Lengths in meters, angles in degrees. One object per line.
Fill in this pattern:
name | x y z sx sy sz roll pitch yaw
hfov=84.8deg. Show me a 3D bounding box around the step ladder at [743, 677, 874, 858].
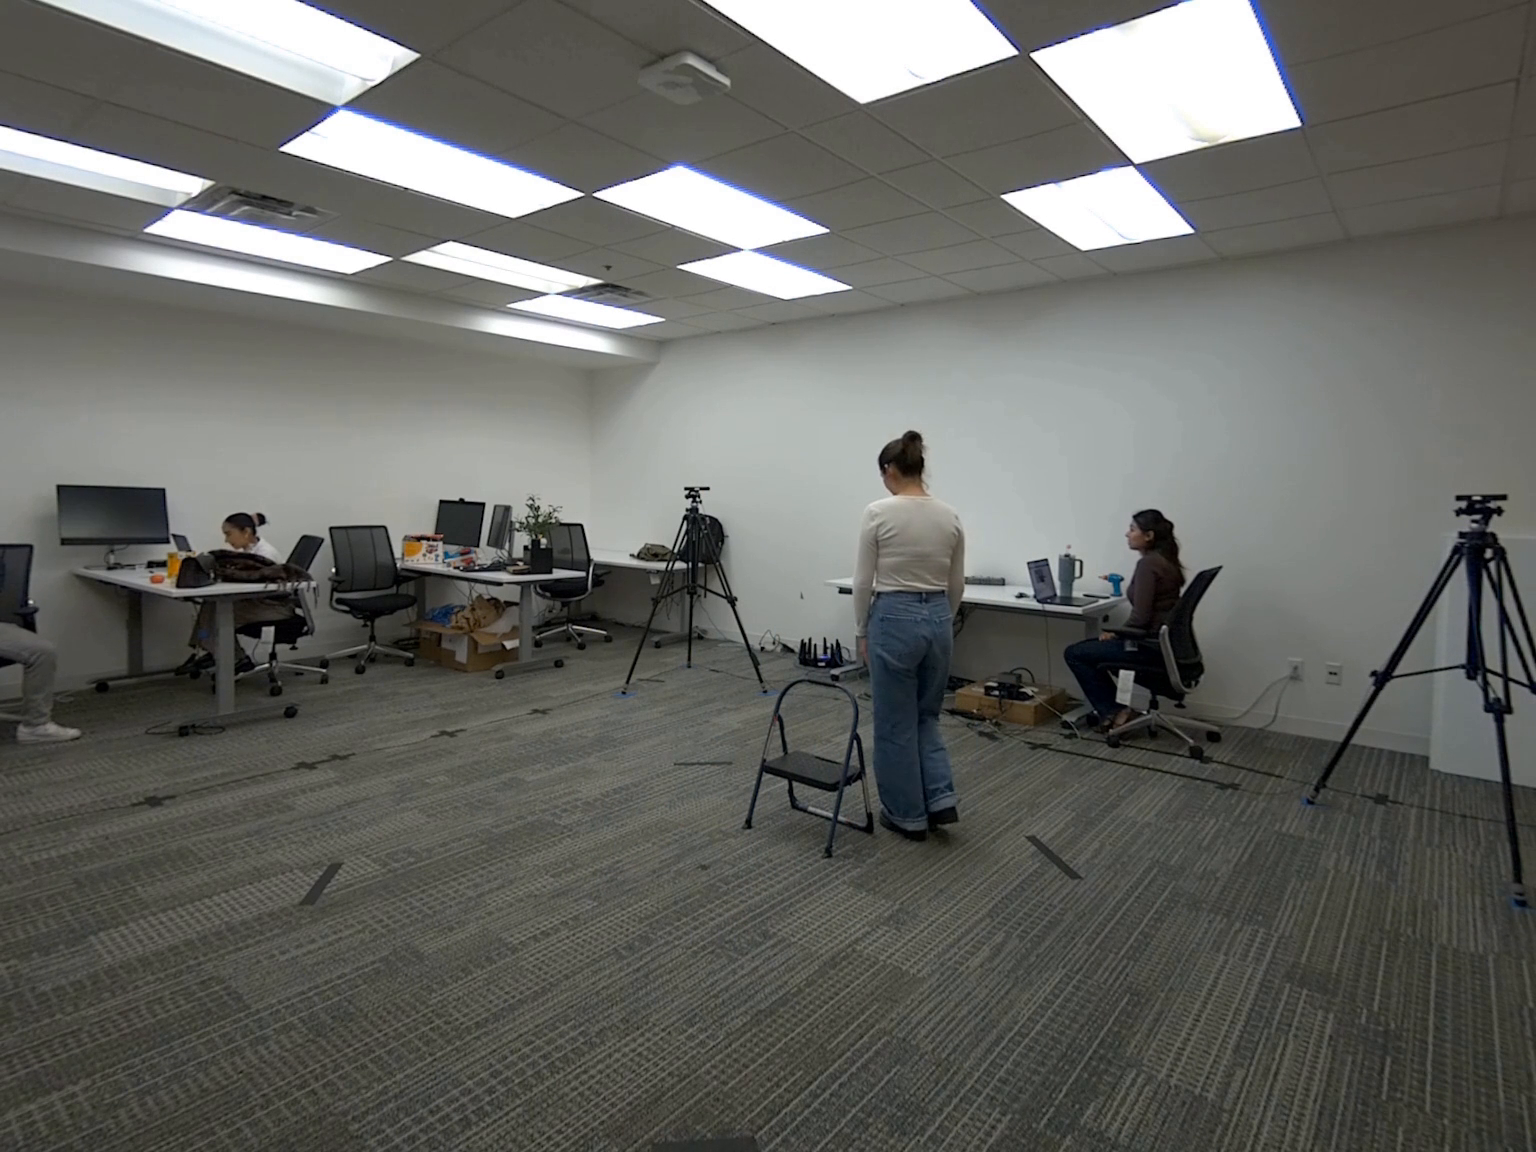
step ladder | 0.166 0.737 3.467 0.445 0.604 0.339 5 5 39
